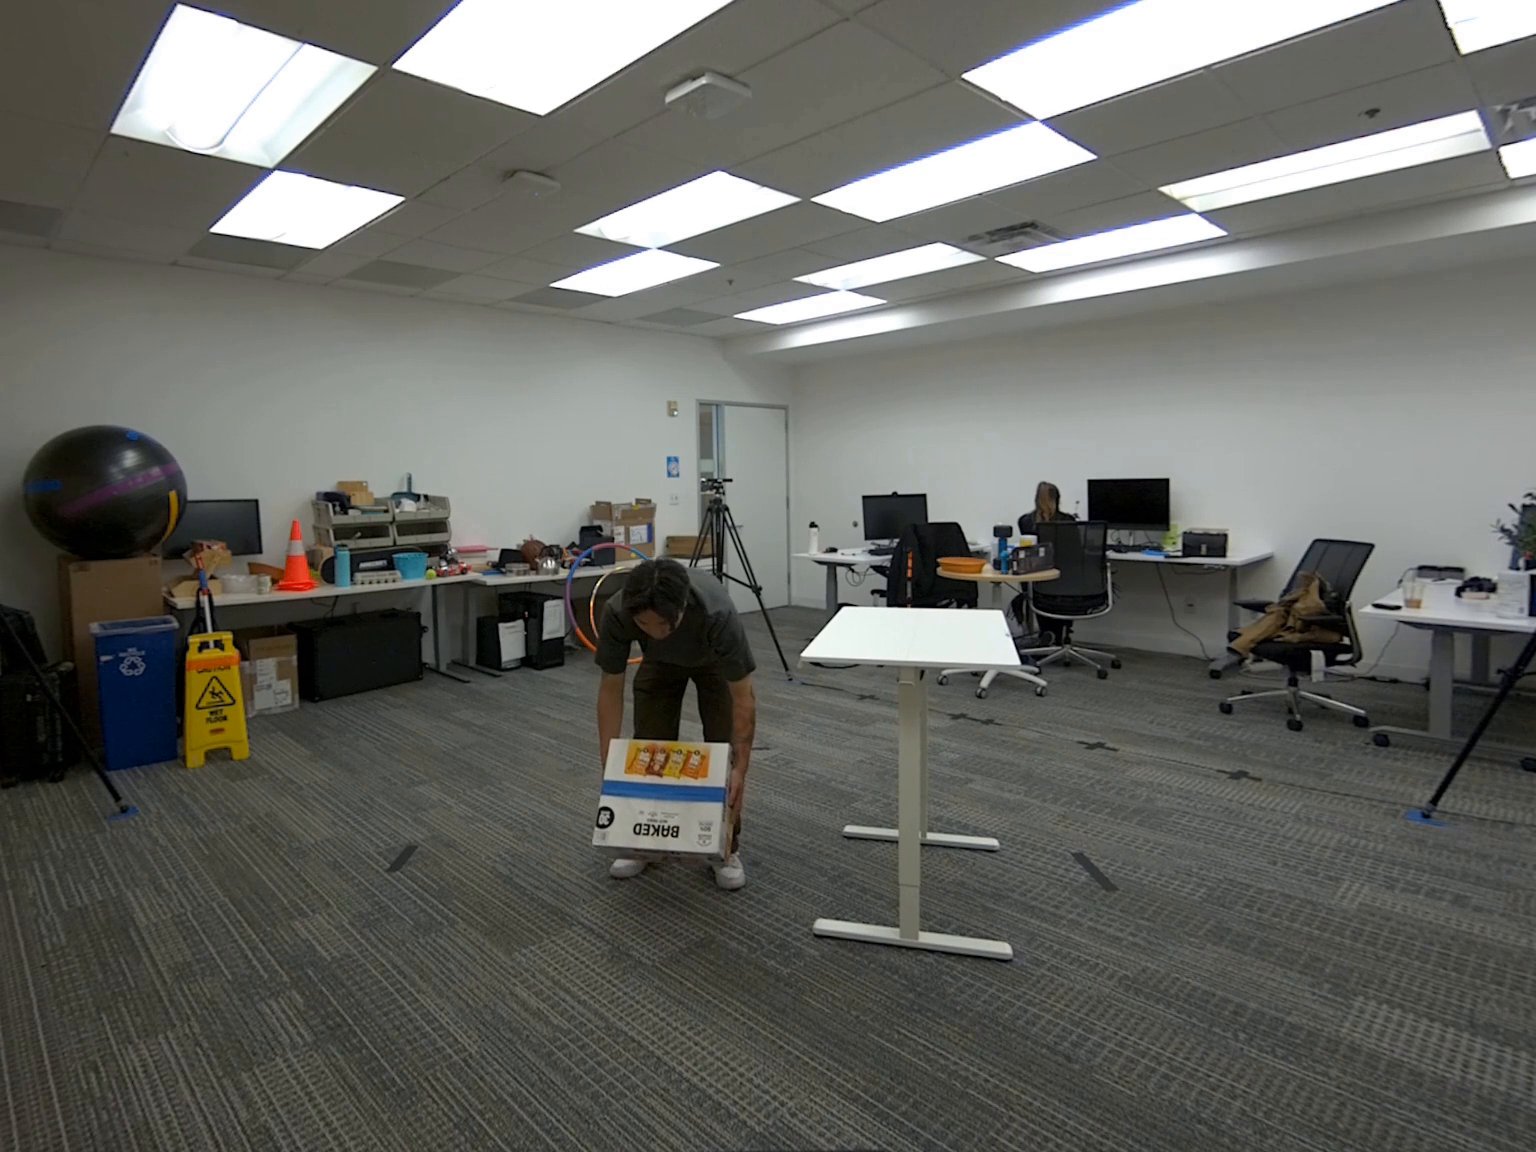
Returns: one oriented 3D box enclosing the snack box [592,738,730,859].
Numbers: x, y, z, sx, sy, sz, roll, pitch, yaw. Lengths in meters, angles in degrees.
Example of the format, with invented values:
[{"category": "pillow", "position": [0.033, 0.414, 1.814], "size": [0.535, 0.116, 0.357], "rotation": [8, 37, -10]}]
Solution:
[{"category": "snack box", "position": [-0.325, 0.739, 2.773], "size": [0.409, 0.347, 0.199], "rotation": [0, -32, 10]}]
